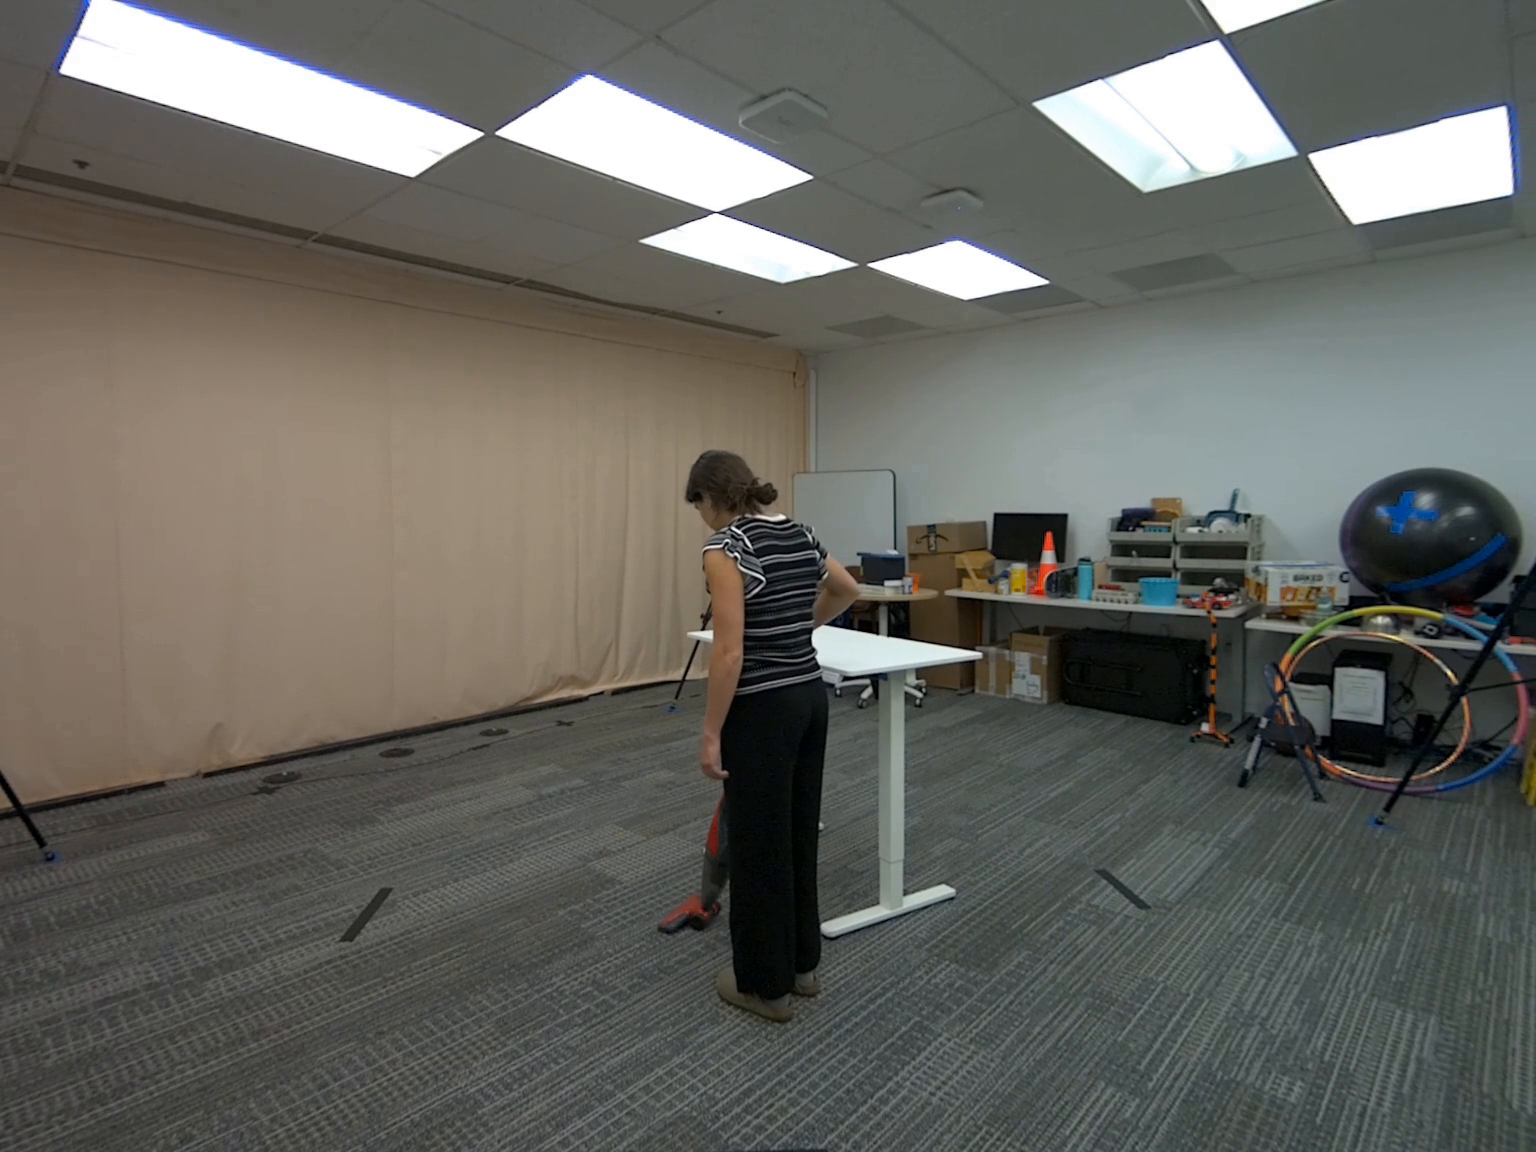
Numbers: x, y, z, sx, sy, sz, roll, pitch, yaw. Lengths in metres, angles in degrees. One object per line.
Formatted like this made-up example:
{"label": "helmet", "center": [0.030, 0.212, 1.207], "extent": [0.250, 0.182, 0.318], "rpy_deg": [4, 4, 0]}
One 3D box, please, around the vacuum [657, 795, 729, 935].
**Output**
{"label": "vacuum", "center": [-0.086, 0.685, 2.727], "extent": [0.148, 1.046, 0.246], "rpy_deg": [24, 13, 22]}
